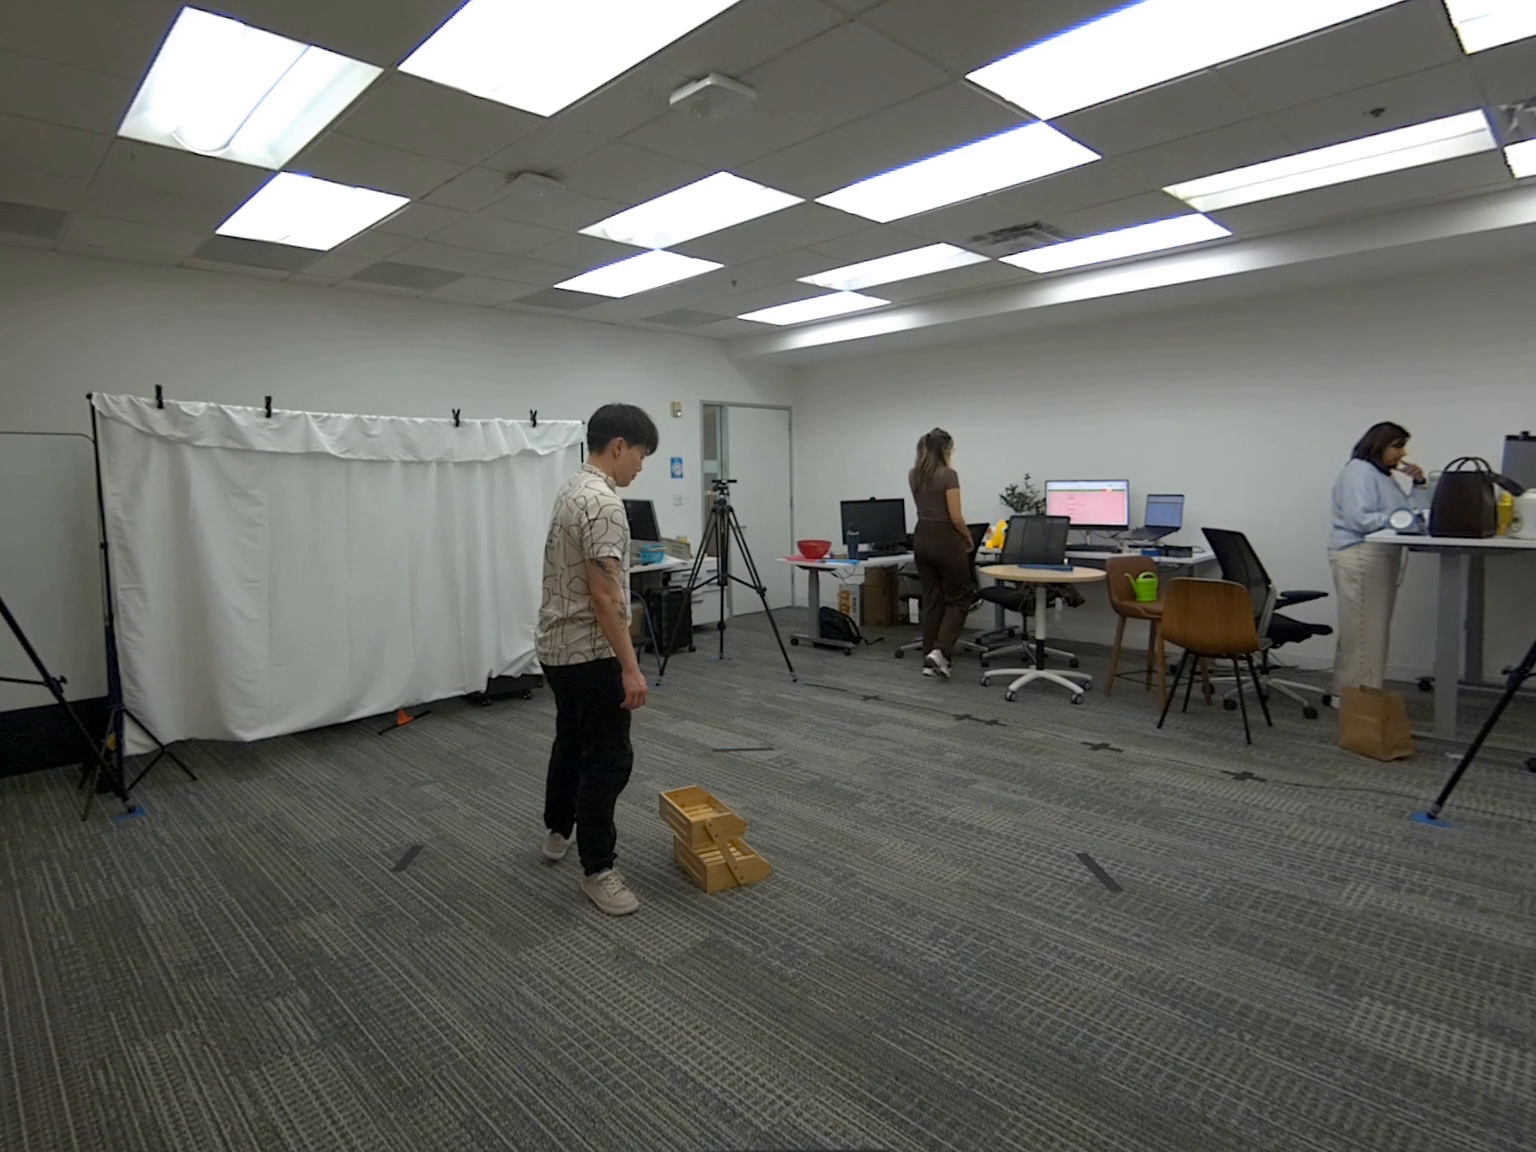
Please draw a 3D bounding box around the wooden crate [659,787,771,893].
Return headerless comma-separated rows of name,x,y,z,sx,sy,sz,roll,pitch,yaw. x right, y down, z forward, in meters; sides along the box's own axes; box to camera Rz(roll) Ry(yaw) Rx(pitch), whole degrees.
wooden crate,-0.189,0.920,3.061,0.296,0.272,0.333,-5,7,-27
